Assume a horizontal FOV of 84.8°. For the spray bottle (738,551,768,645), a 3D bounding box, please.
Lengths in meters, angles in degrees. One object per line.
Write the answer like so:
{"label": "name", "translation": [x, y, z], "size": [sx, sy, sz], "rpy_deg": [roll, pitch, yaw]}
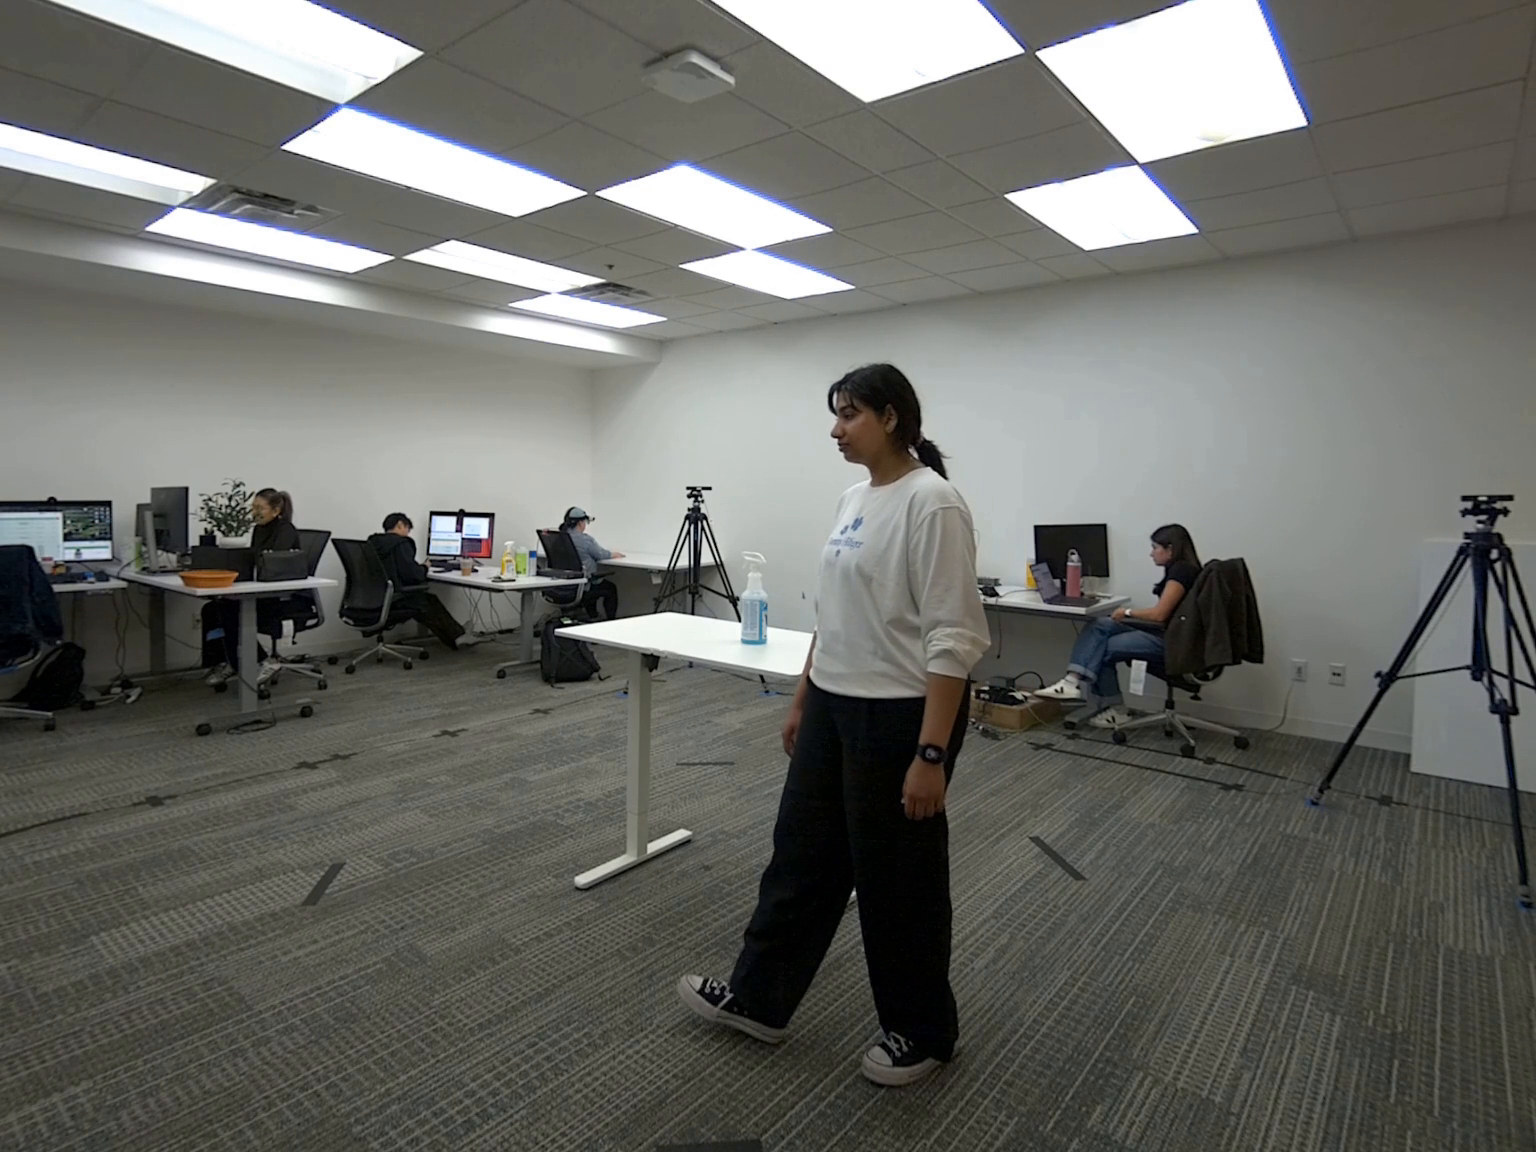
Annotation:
{"label": "spray bottle", "translation": [-0.042, 0.072, 2.796], "size": [0.085, 0.297, 0.092], "rpy_deg": [-1, 2, -30]}
